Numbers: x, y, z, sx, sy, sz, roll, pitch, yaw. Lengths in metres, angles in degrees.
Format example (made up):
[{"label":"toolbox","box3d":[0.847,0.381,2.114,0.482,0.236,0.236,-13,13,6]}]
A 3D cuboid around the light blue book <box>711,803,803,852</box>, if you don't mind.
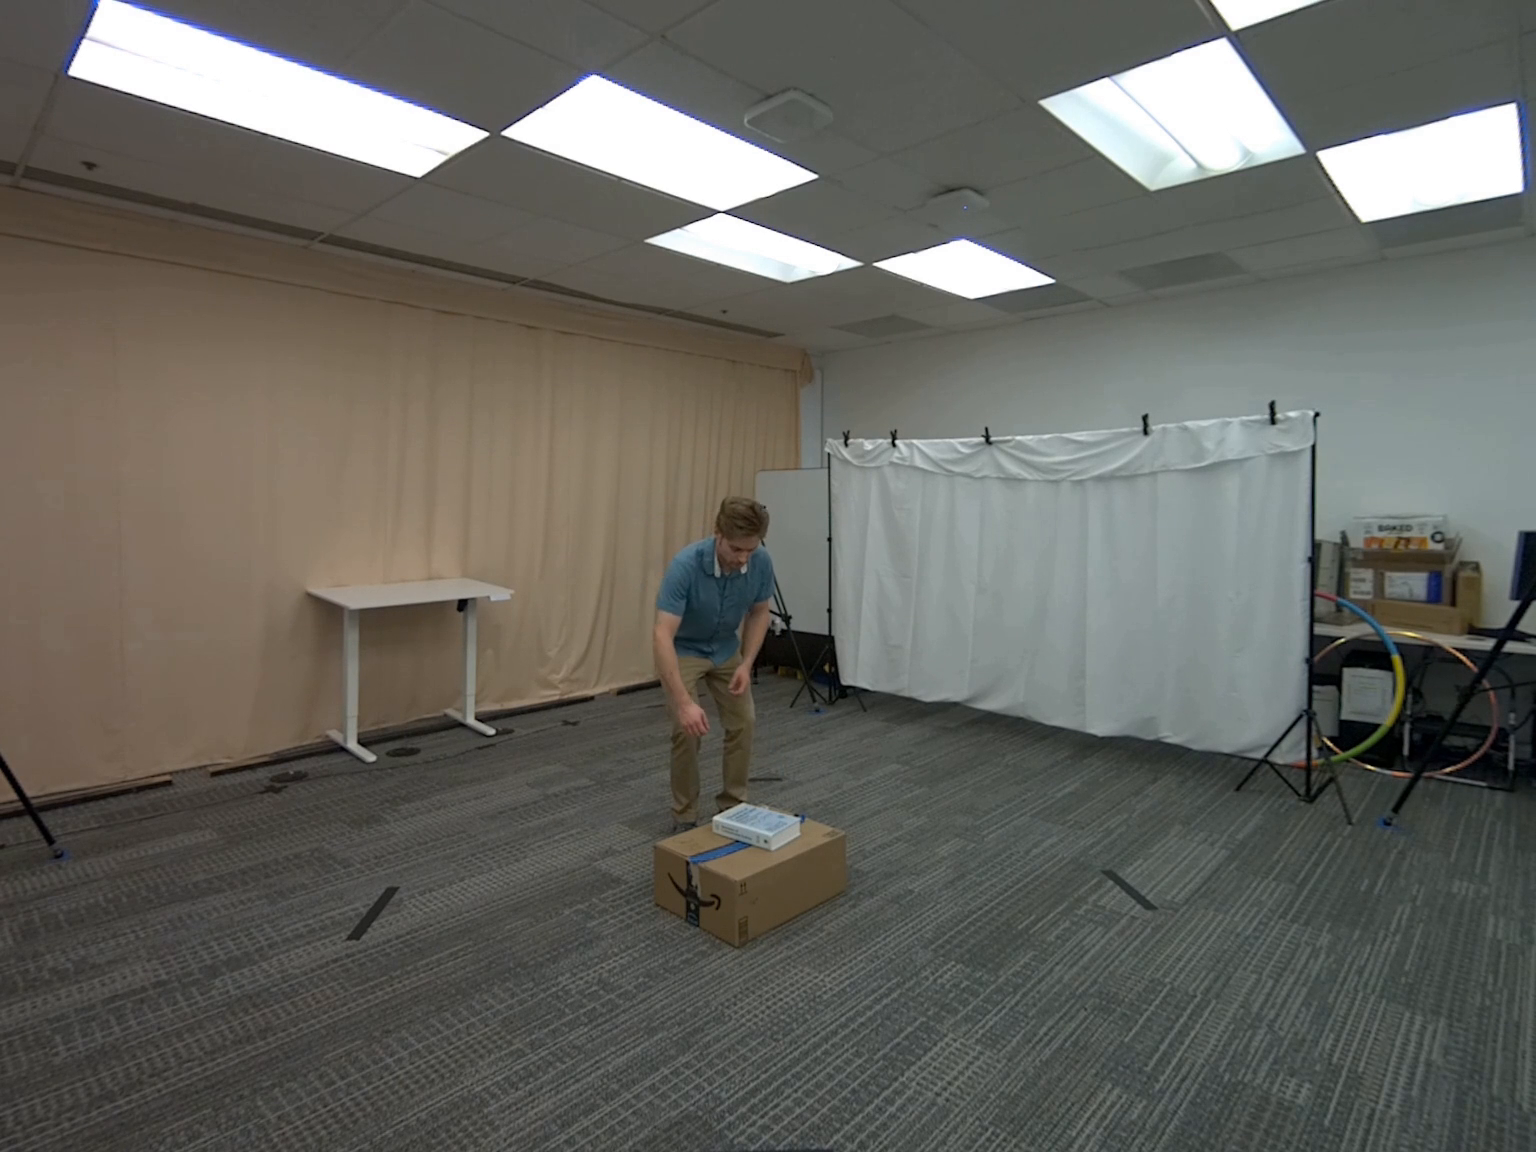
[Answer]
[{"label":"light blue book","box3d":[-0.036,0.894,3.035,0.269,0.059,0.186,4,7,37]}]
